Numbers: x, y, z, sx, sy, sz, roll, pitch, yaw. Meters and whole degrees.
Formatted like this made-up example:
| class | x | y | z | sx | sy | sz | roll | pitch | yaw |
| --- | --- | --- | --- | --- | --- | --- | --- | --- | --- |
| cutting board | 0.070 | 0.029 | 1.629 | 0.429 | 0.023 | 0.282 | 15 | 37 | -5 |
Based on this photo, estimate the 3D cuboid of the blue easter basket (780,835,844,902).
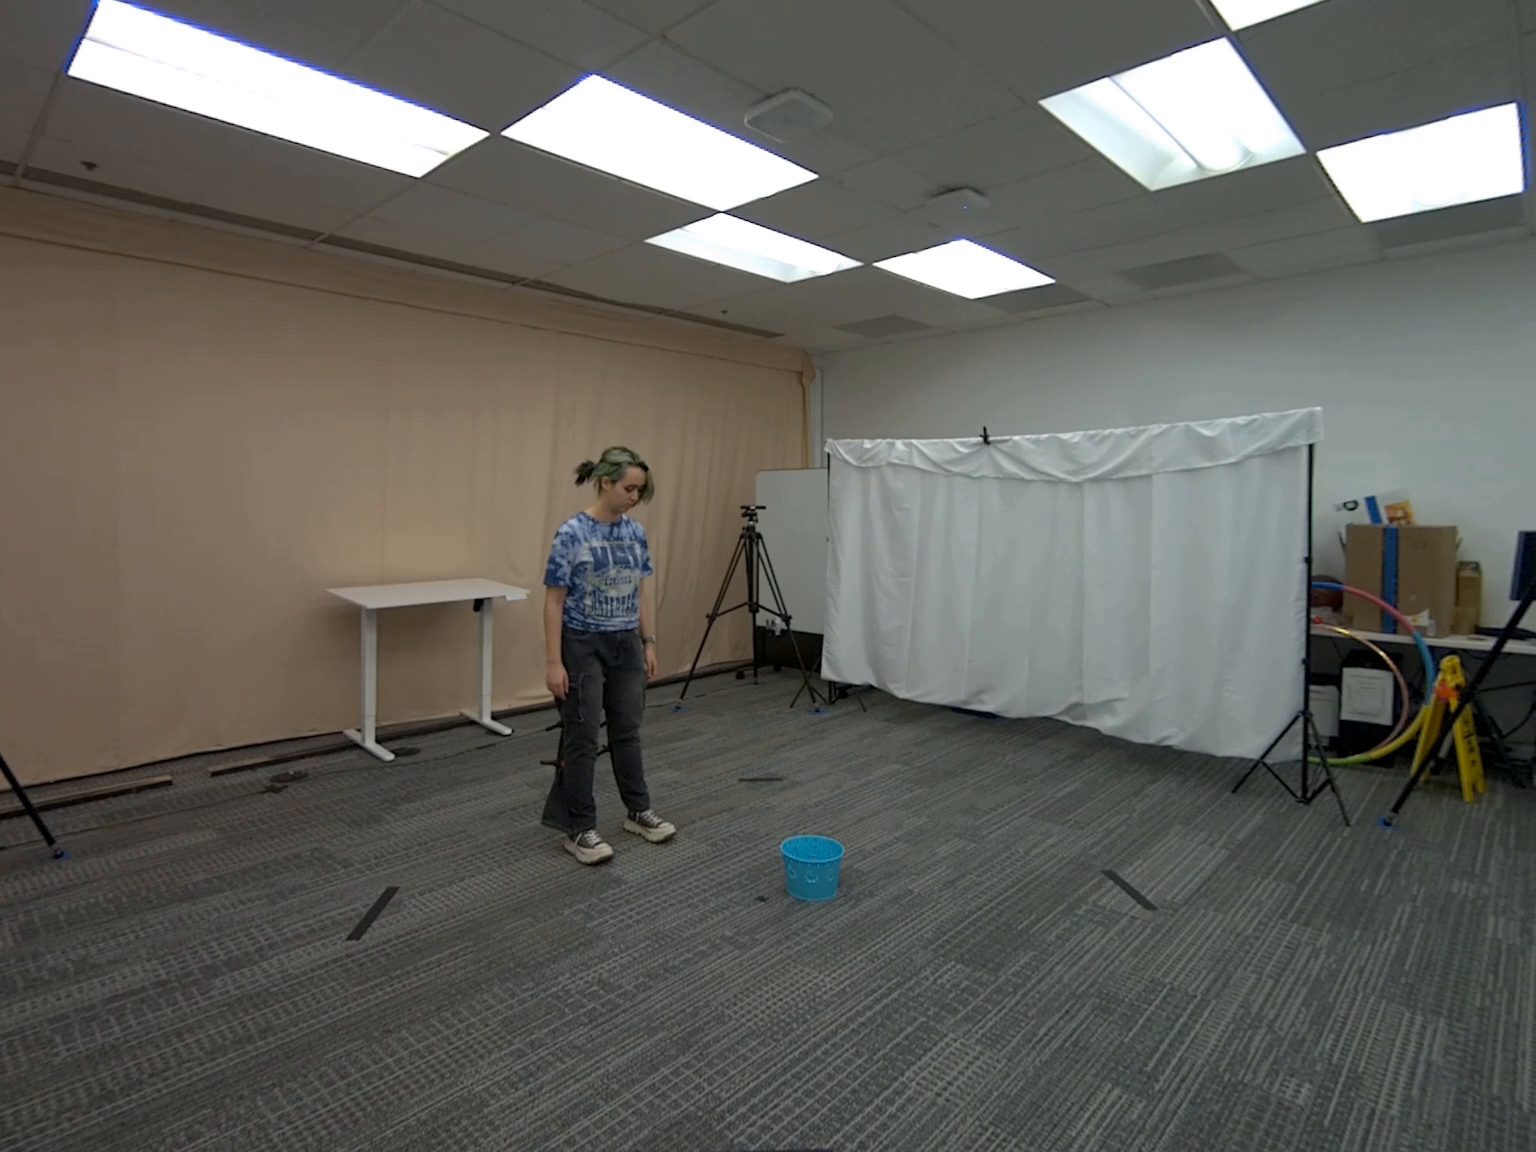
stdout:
| class | x | y | z | sx | sy | sz | roll | pitch | yaw |
| --- | --- | --- | --- | --- | --- | --- | --- | --- | --- |
| blue easter basket | 0.165 | 1.058 | 3.055 | 0.243 | 0.155 | 0.244 | 0 | 4 | -2 |
